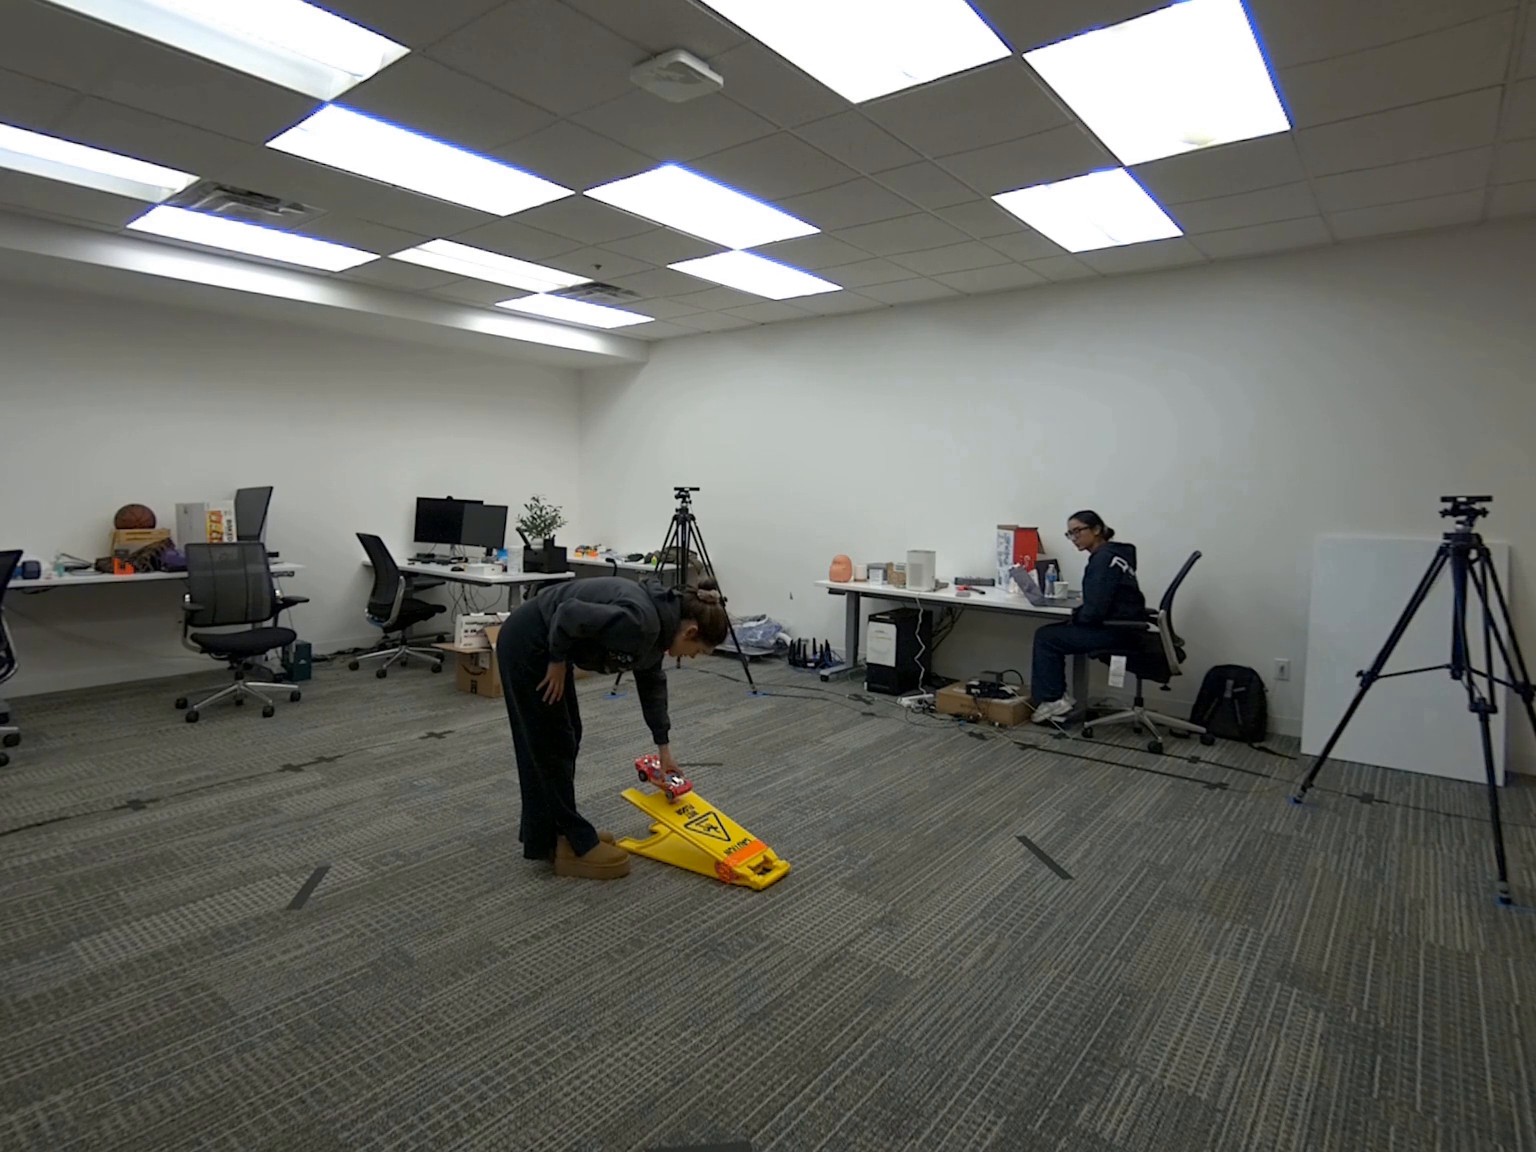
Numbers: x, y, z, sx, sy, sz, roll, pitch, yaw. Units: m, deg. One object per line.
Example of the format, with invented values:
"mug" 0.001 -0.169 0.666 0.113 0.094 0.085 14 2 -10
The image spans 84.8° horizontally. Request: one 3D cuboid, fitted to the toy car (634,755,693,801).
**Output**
"toy car" -0.422 0.788 3.313 0.264 0.082 0.127 35 26 31
